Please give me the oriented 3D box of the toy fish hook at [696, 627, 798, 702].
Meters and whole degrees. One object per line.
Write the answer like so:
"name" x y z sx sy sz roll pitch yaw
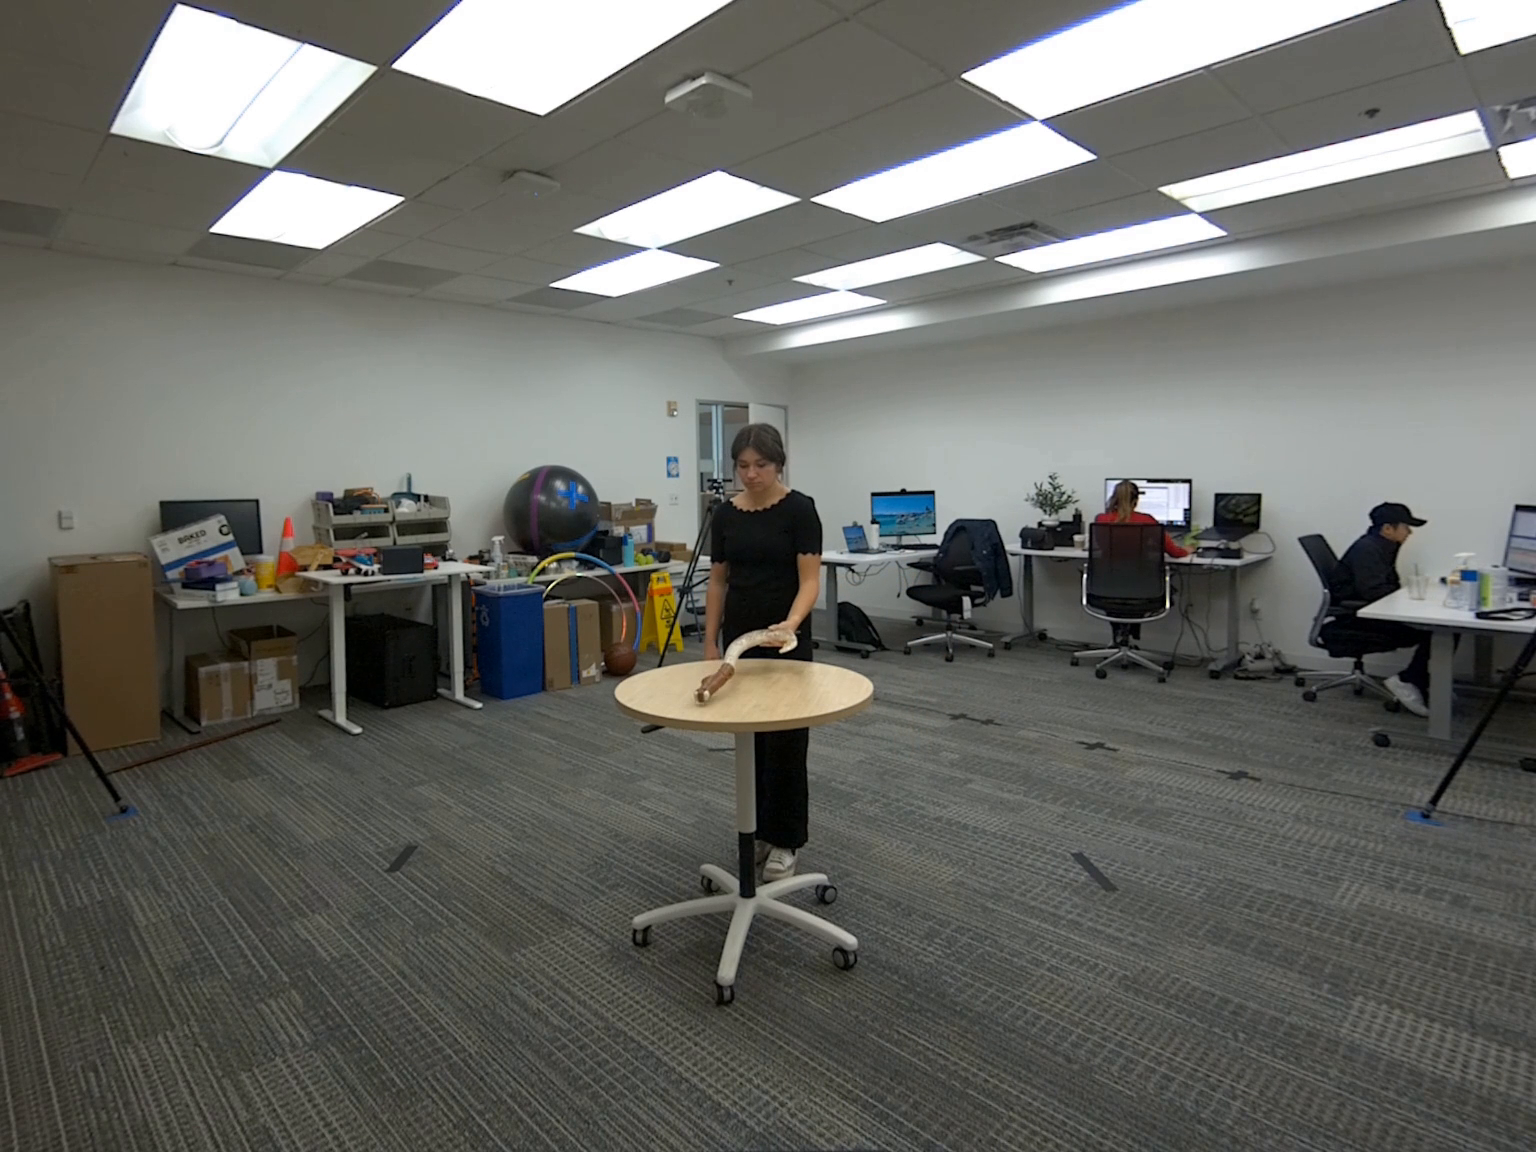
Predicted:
"toy fish hook" -0.061 0.253 2.516 0.228 0.048 0.505 -12 13 20
